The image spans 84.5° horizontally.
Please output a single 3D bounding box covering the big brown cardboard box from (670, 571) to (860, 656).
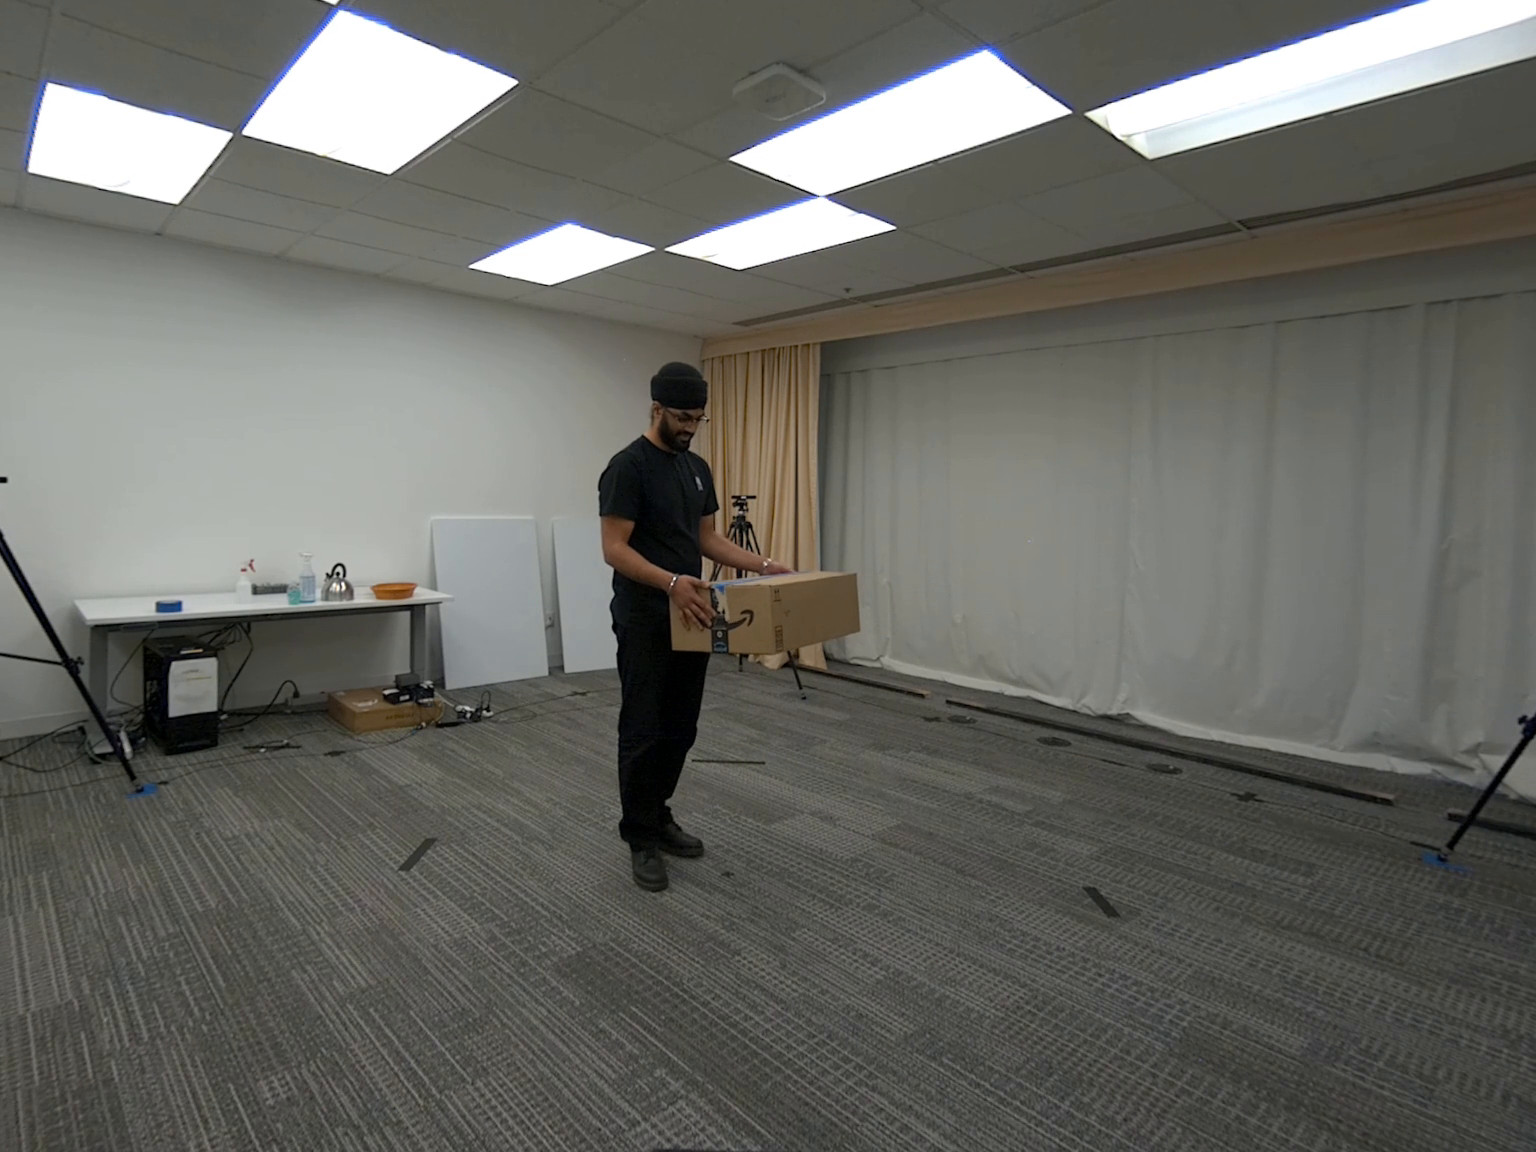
[{"bbox_3d":[-0.004,0.116,2.916,0.426,0.233,0.577,-2,3,35],"label":"big brown cardboard box"}]
